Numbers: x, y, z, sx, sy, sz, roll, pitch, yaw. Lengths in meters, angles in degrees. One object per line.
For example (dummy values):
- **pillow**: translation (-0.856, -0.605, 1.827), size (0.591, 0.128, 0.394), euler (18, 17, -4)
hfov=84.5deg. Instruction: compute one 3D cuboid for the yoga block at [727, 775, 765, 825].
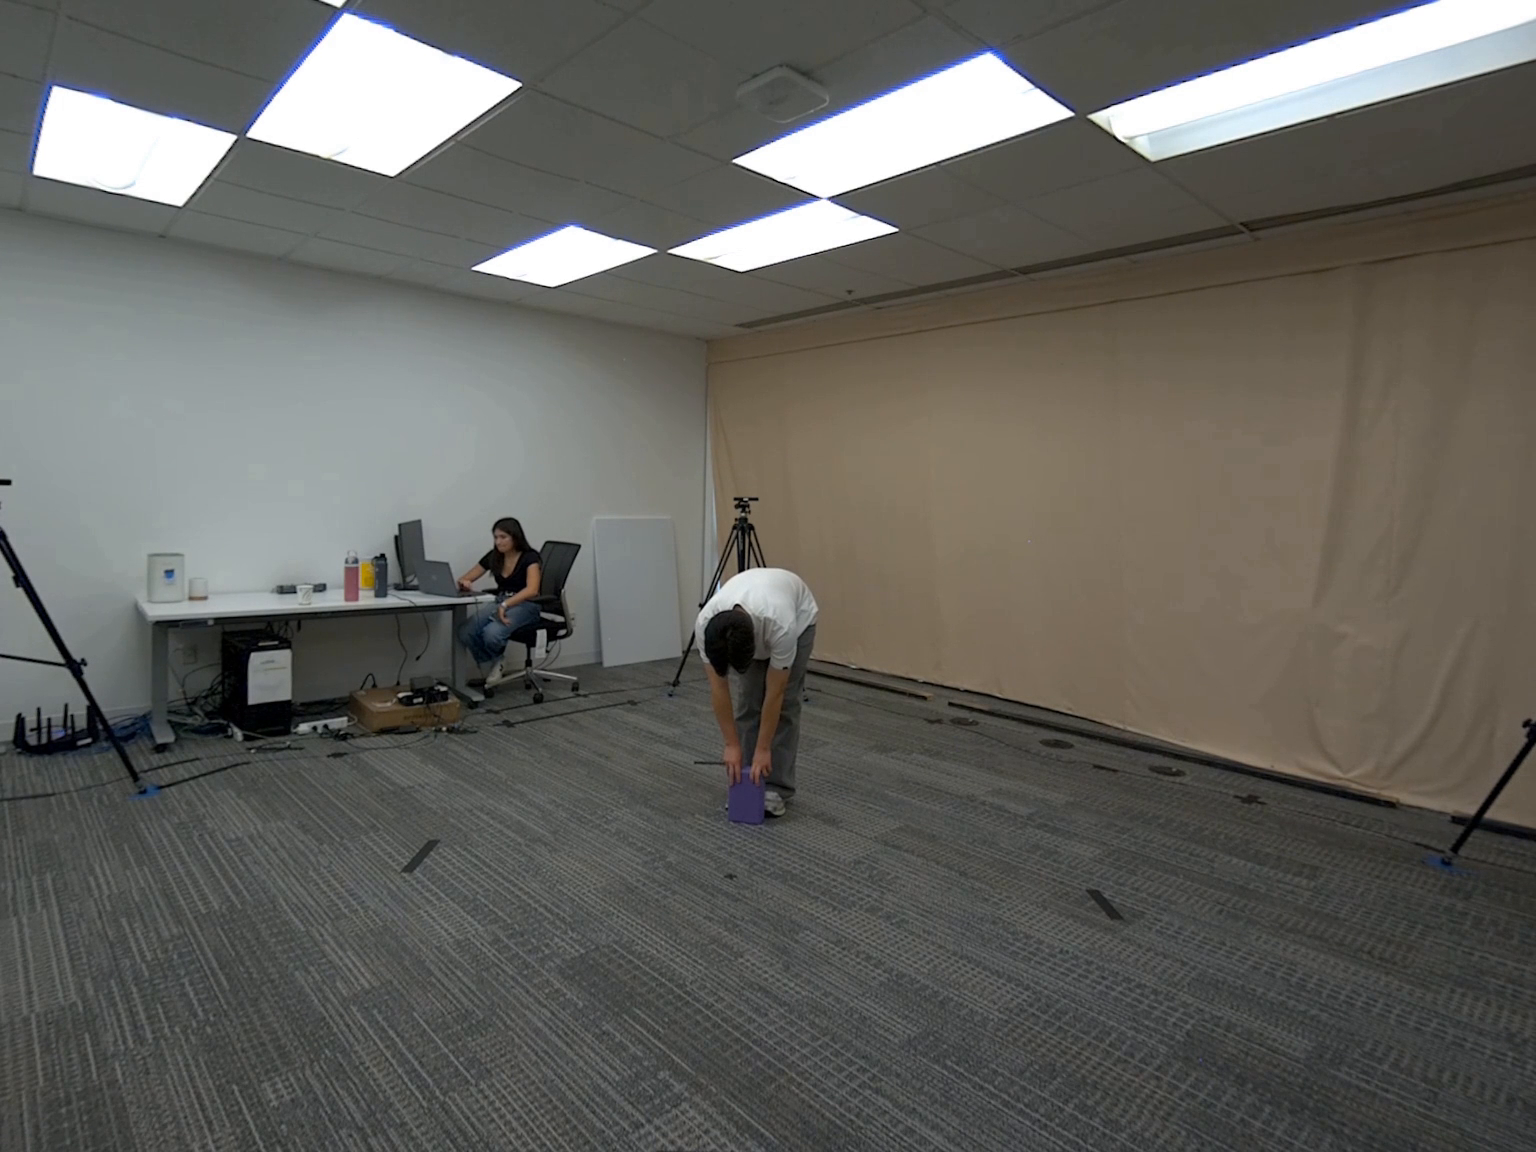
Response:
- **yoga block**: translation (-0.114, 0.962, 3.644), size (0.150, 0.229, 0.076), euler (1, 2, 11)
